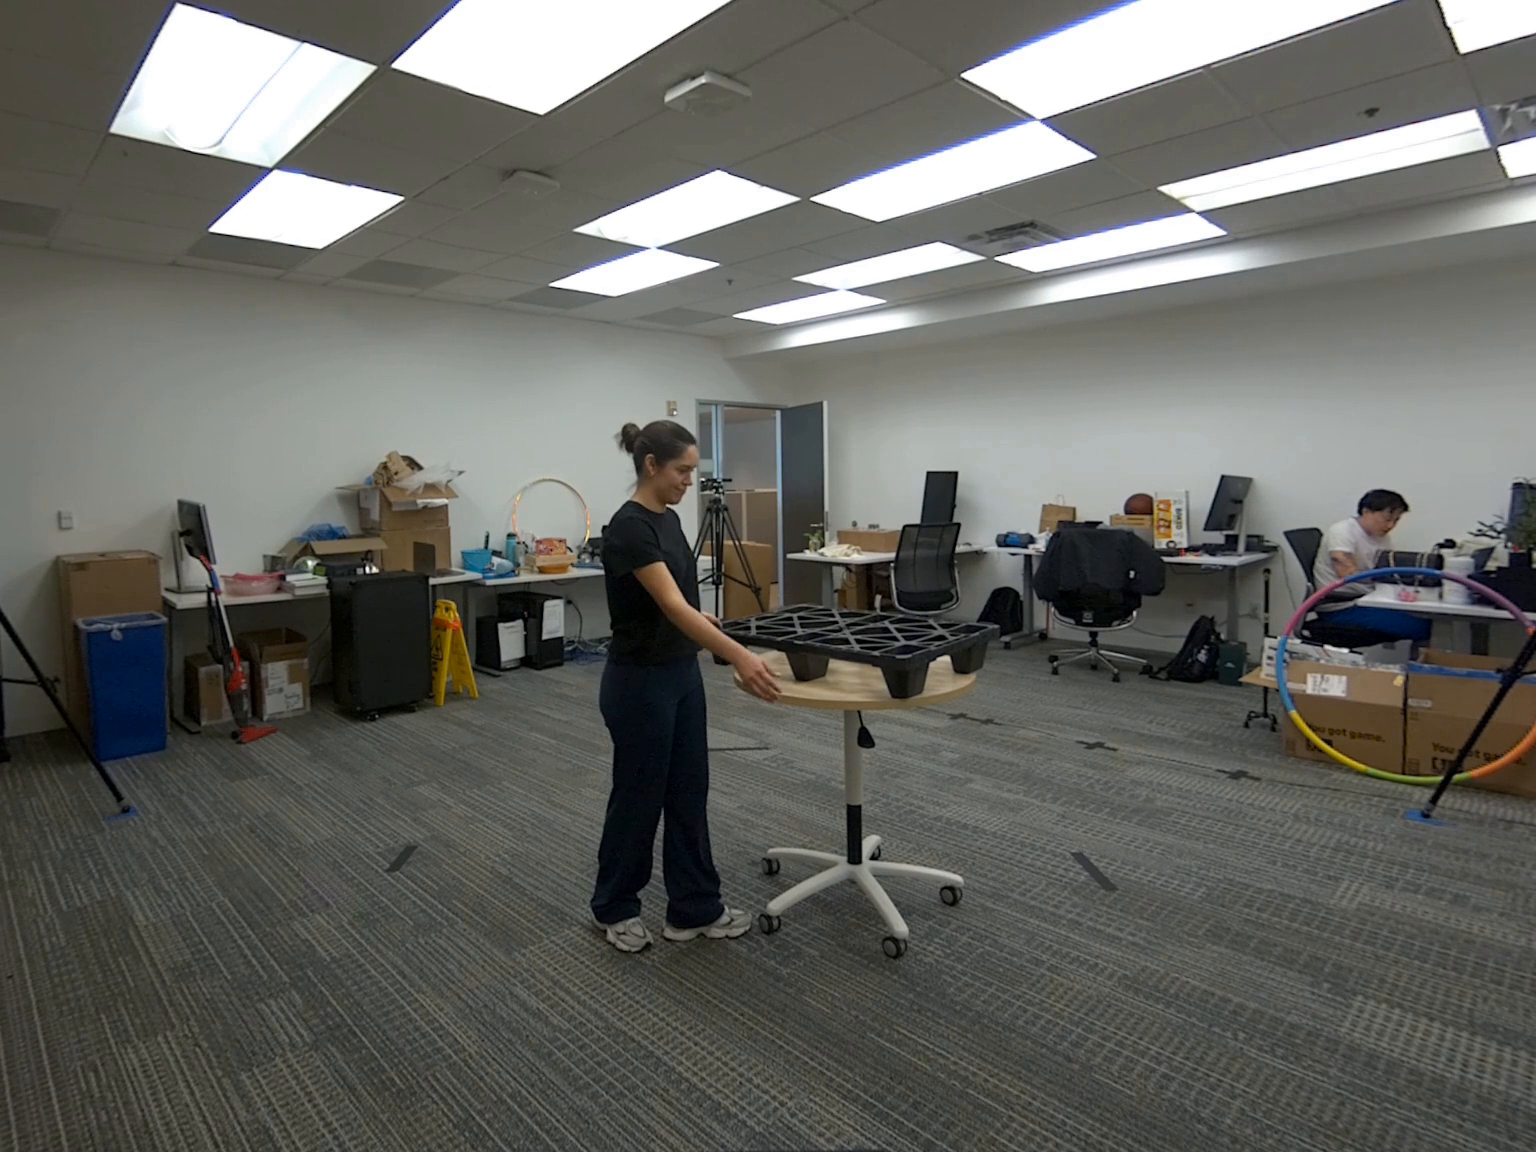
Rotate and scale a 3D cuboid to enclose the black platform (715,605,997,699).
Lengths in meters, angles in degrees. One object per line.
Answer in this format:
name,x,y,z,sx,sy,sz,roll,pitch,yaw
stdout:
black platform,0.249,0.230,2.785,0.830,0.142,0.590,4,9,42
